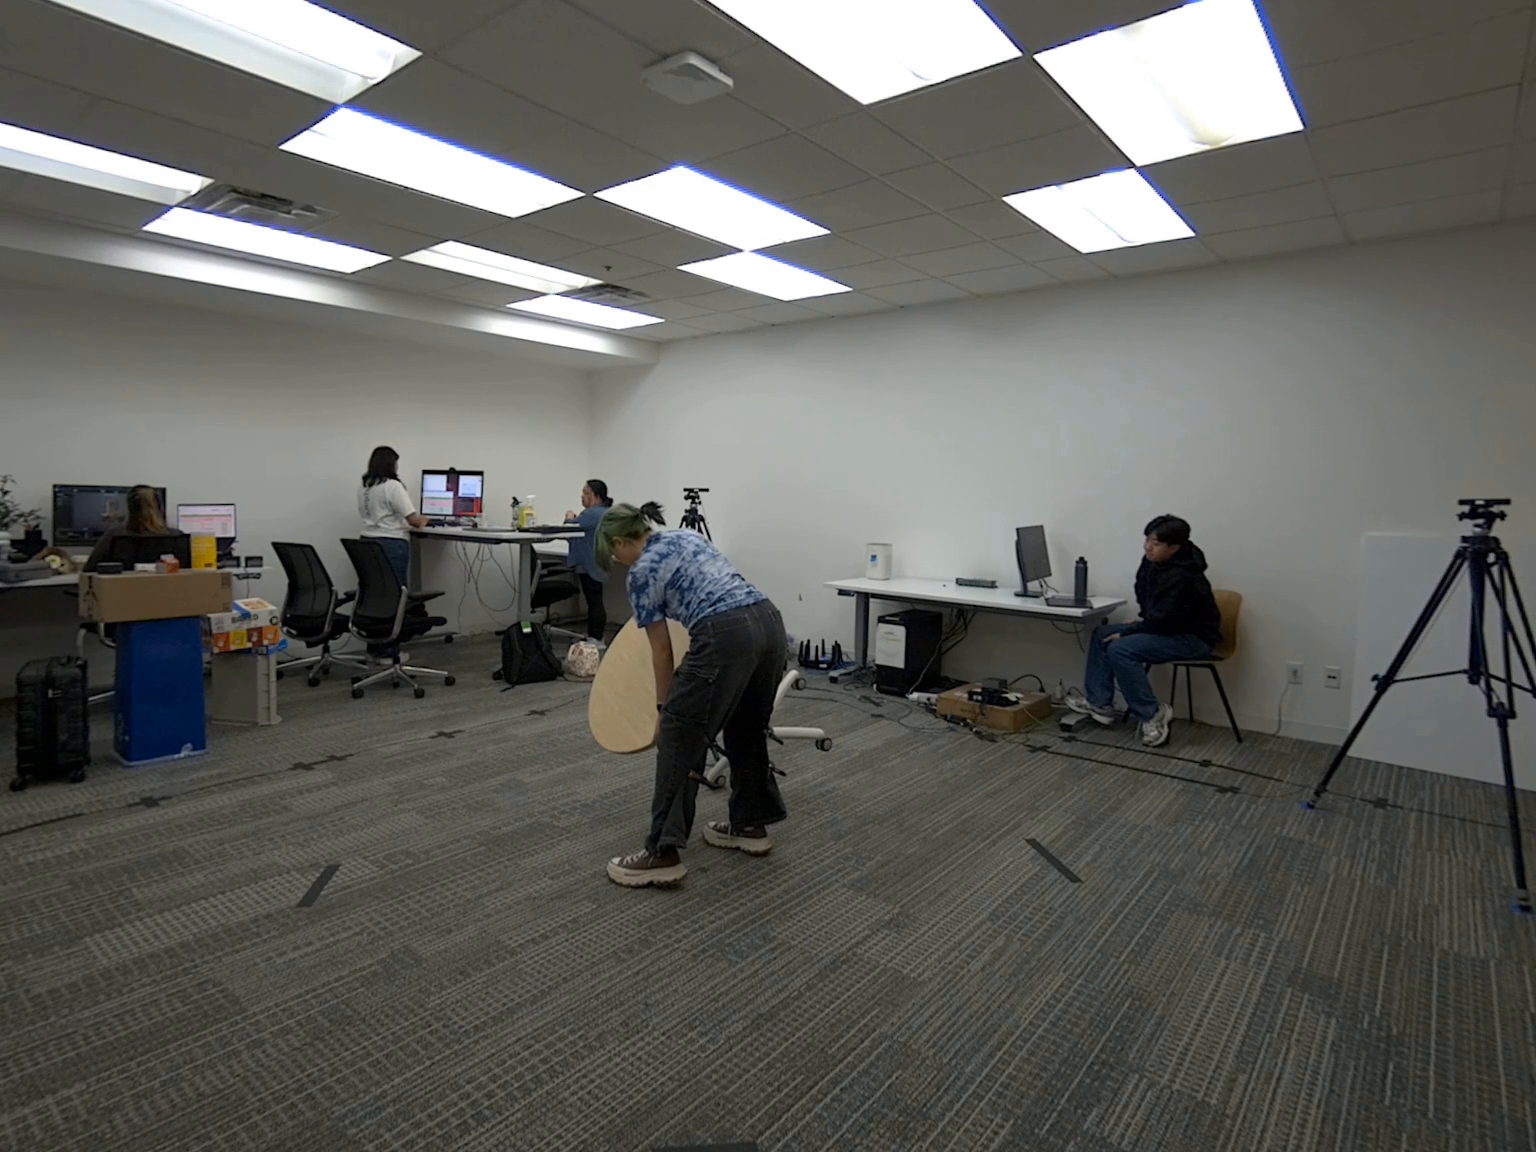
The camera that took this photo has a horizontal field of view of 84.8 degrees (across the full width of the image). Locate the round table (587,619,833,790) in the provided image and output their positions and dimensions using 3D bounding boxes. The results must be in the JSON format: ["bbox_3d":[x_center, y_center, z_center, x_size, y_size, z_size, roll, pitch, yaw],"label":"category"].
[{"bbox_3d":[-0.239,0.565,3.718,0.763,0.768,0.790,40,-21,-34],"label":"round table"}]
